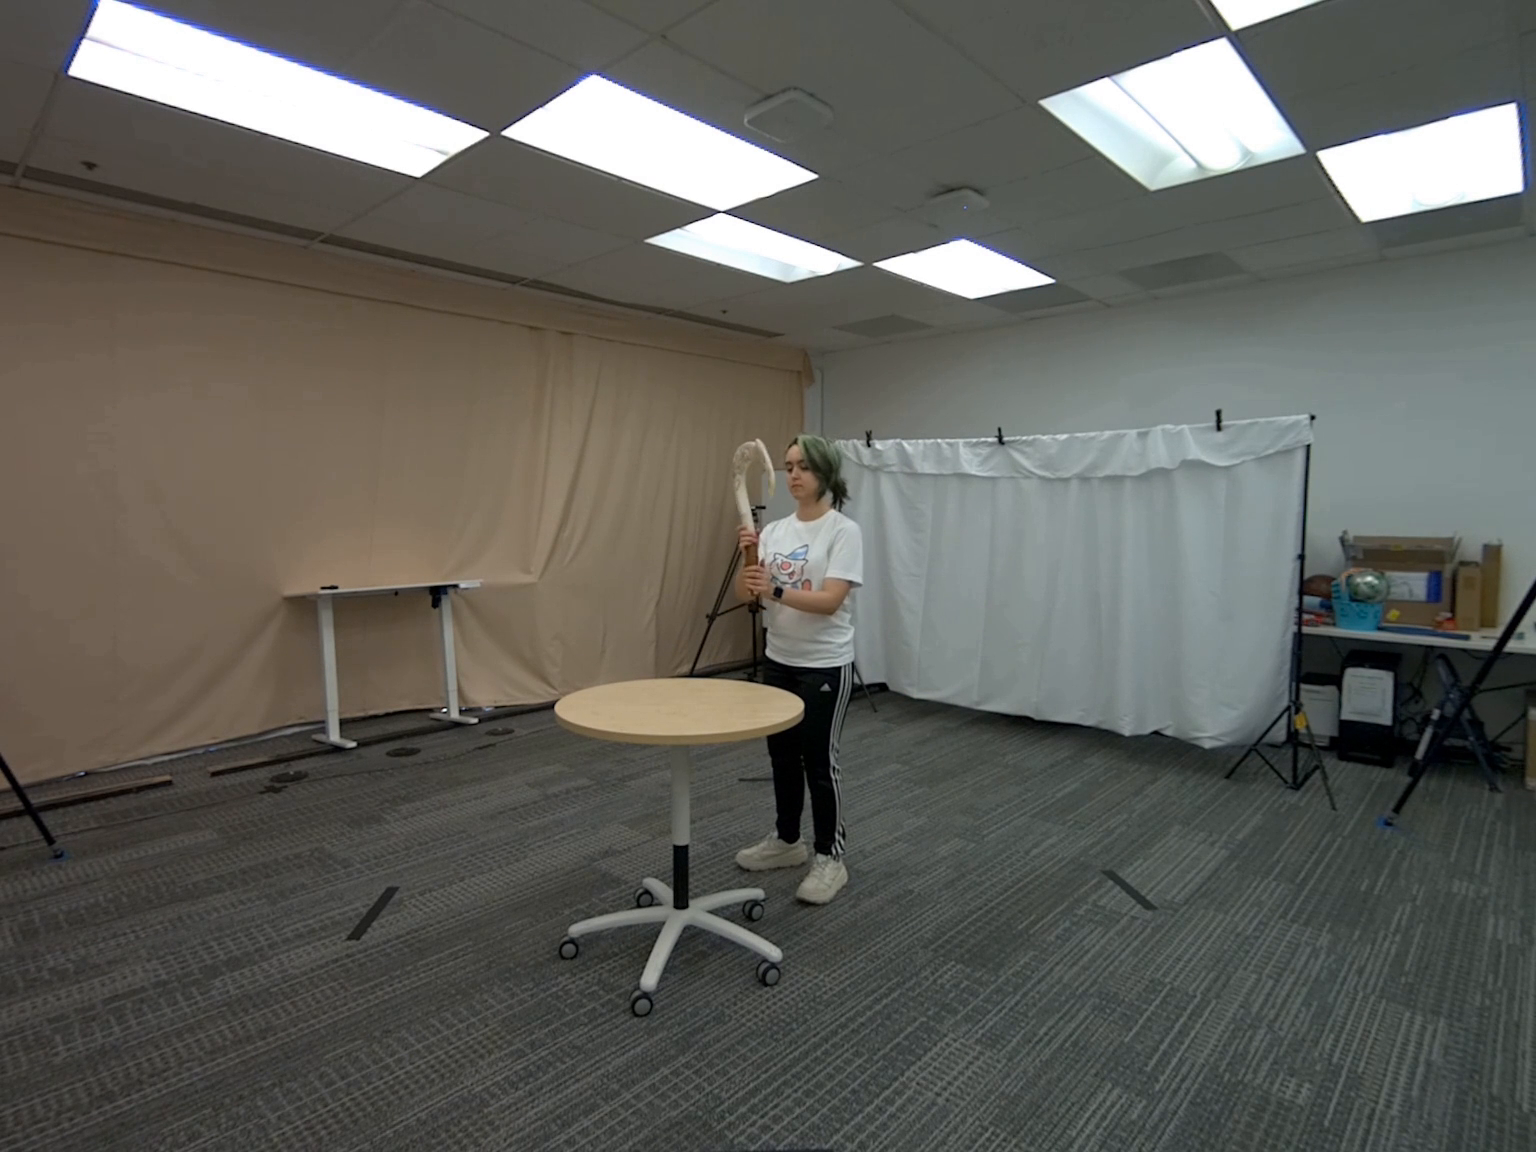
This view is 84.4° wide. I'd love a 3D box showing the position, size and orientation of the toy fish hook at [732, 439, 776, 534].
[{"bbox_3d":[-0.032,-0.188,2.750,0.047,0.506,0.230,-7,2,-30],"label":"toy fish hook"}]
